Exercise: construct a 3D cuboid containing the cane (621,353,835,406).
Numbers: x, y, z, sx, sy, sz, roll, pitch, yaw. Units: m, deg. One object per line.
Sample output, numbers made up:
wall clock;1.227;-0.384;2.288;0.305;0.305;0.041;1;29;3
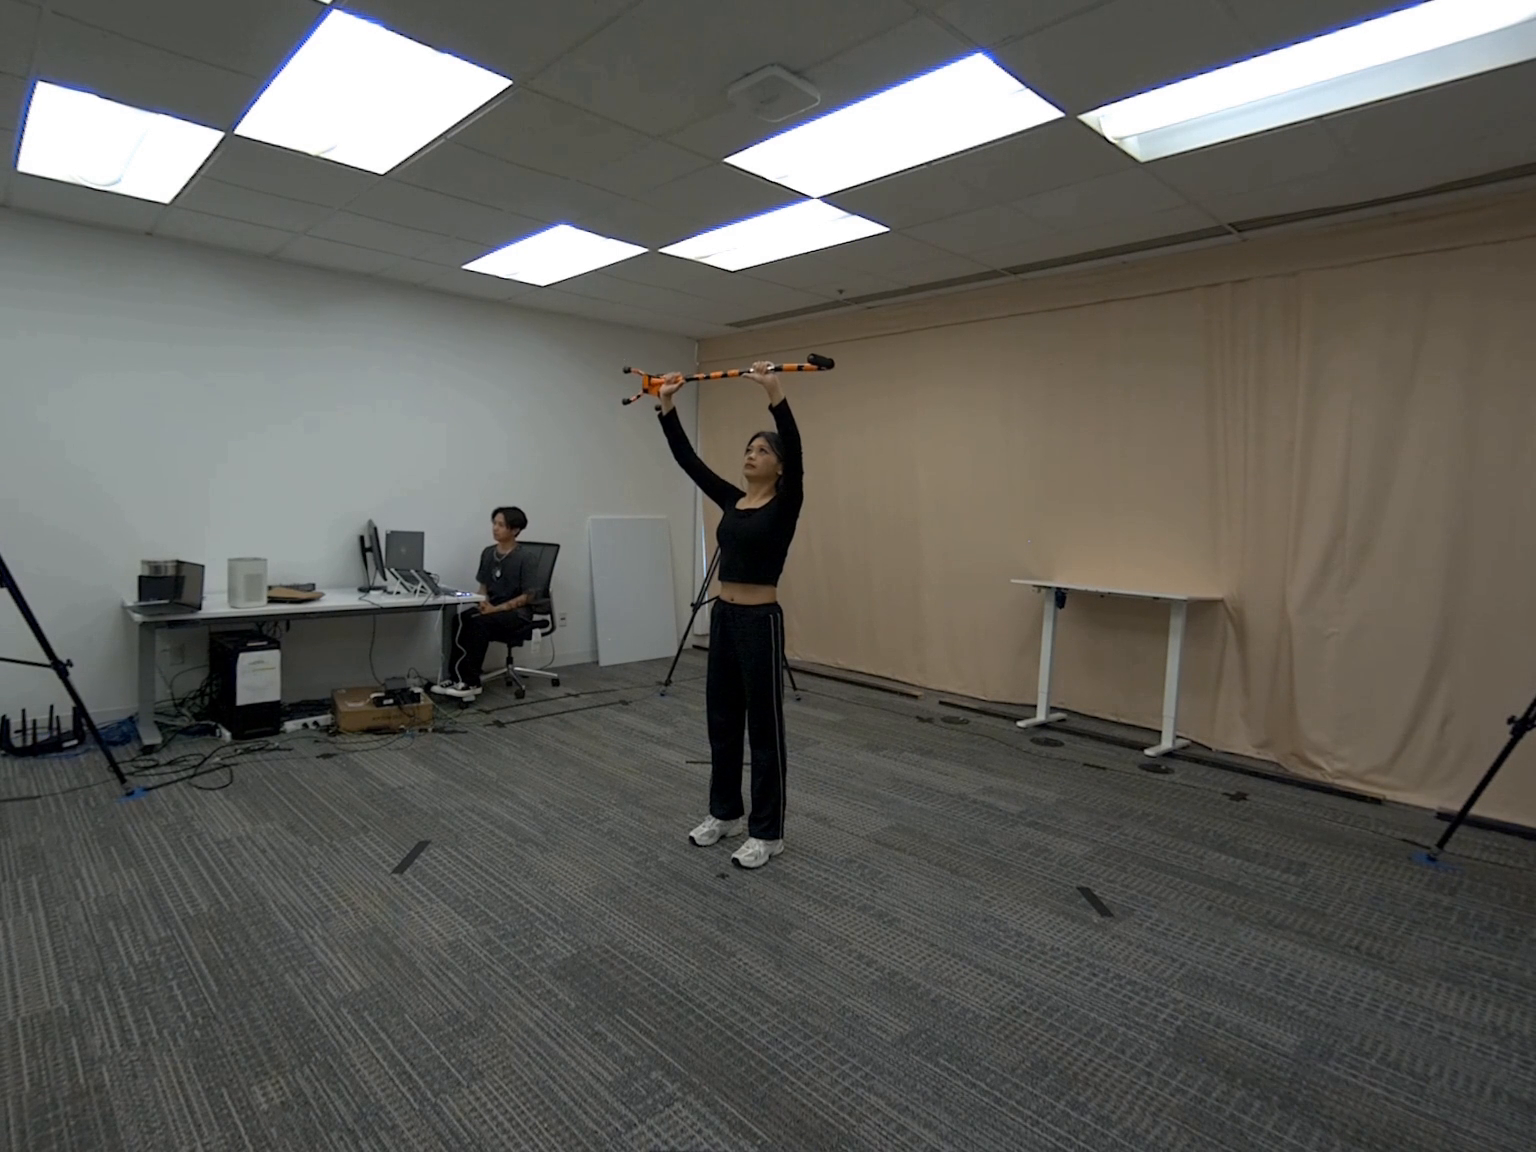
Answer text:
cane;-0.150;-0.712;3.038;0.931;0.151;0.201;4;3;41
